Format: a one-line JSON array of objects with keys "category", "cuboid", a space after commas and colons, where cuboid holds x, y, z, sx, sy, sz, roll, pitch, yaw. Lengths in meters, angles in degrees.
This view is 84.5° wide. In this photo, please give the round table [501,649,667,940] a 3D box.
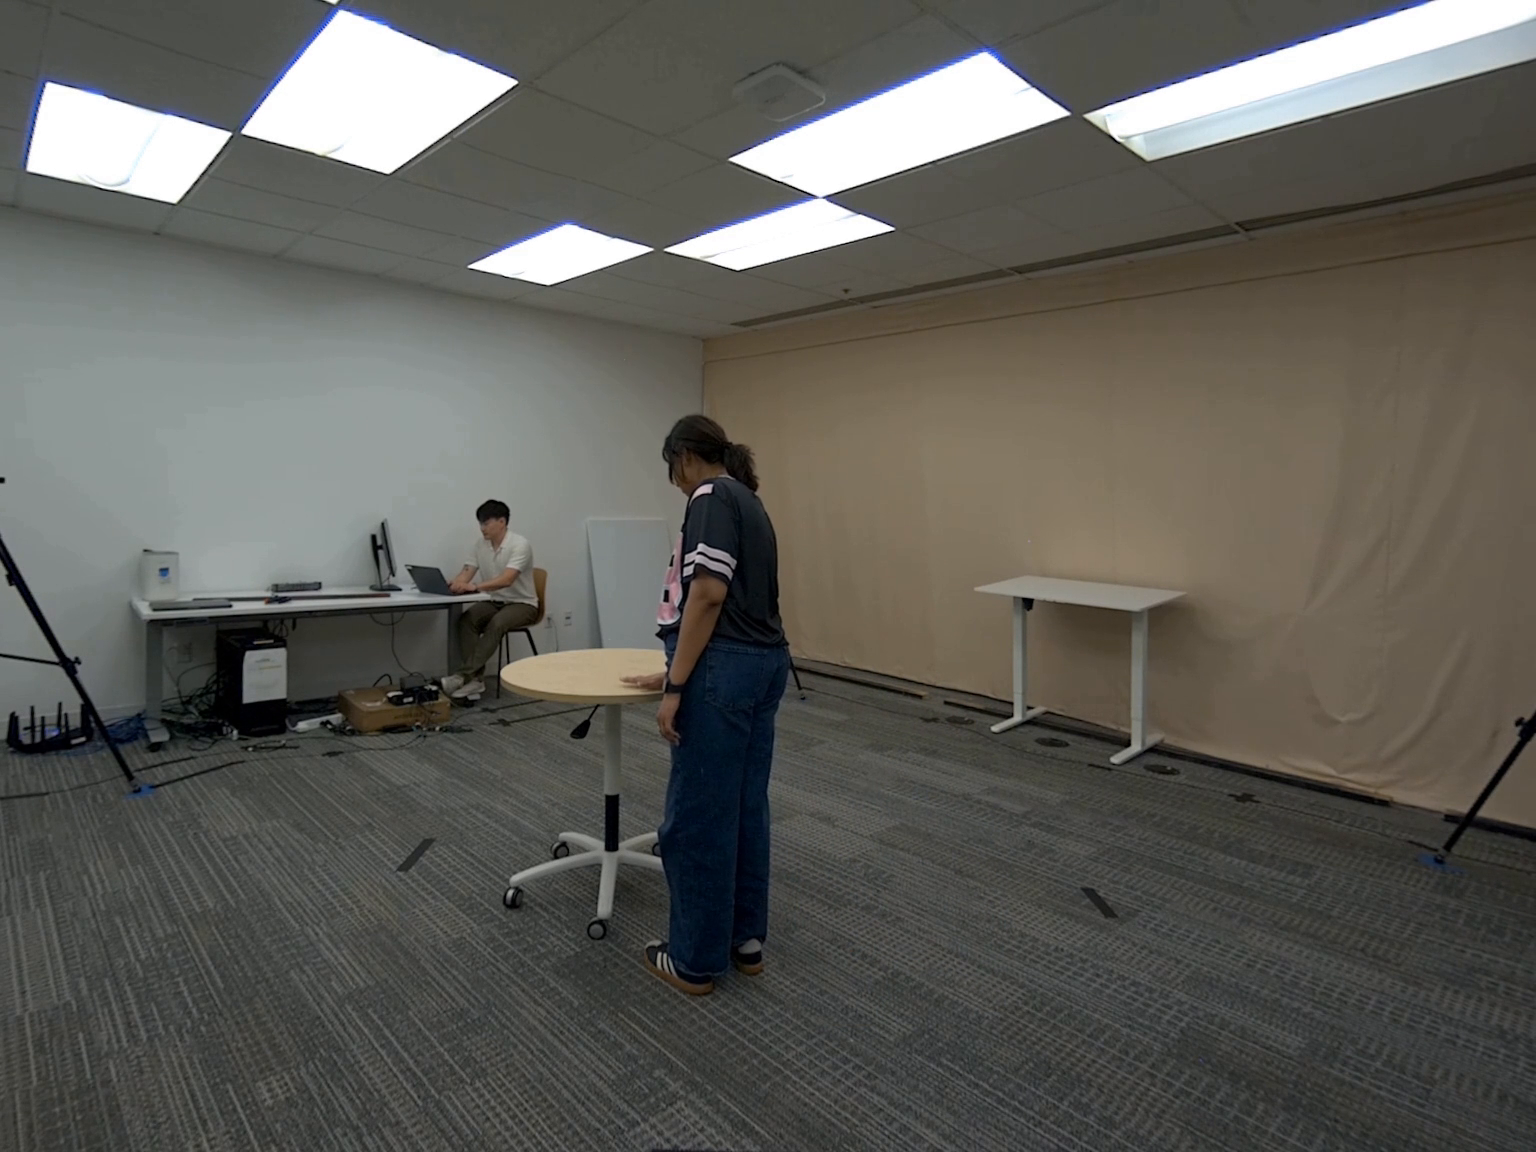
[{"category": "round table", "cuboid": [-0.557, 0.716, 2.945, 0.784, 0.784, 0.788, 1, 4, -1]}]
